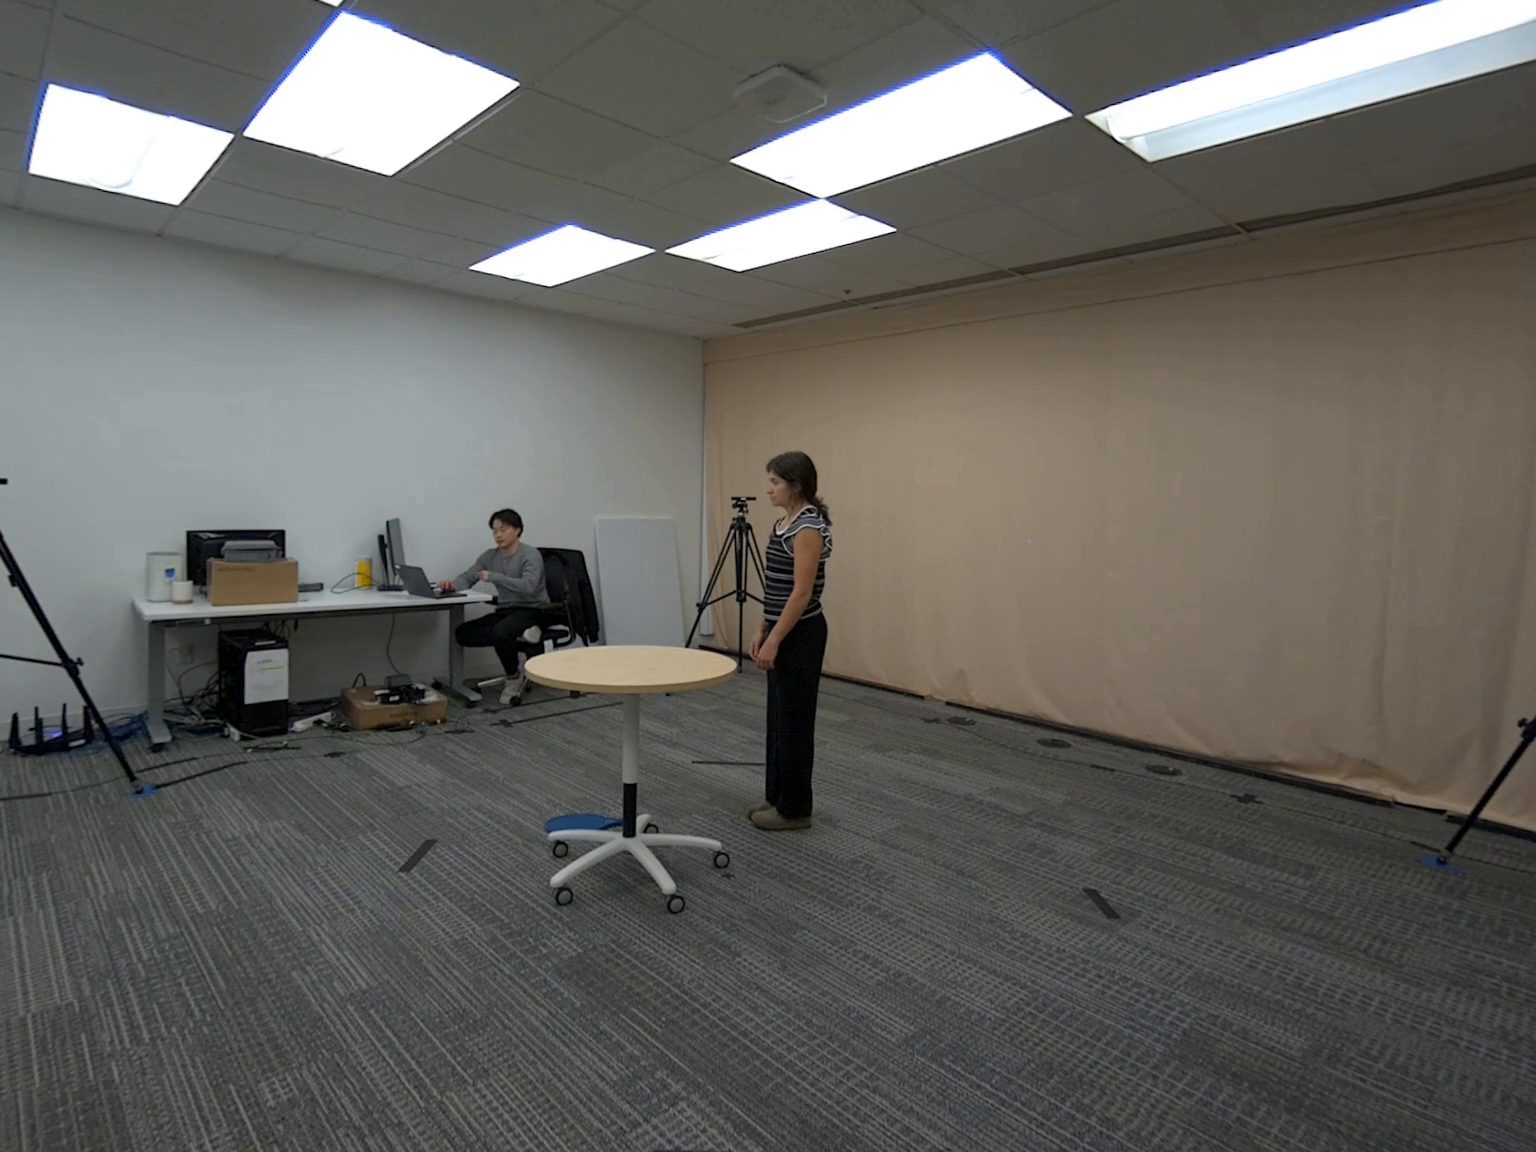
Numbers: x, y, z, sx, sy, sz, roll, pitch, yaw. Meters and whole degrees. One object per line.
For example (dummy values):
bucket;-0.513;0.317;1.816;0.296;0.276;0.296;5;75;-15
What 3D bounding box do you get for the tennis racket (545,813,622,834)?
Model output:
tennis racket;-0.715;1.021;3.520;0.431;0.031;0.215;0;5;-5
